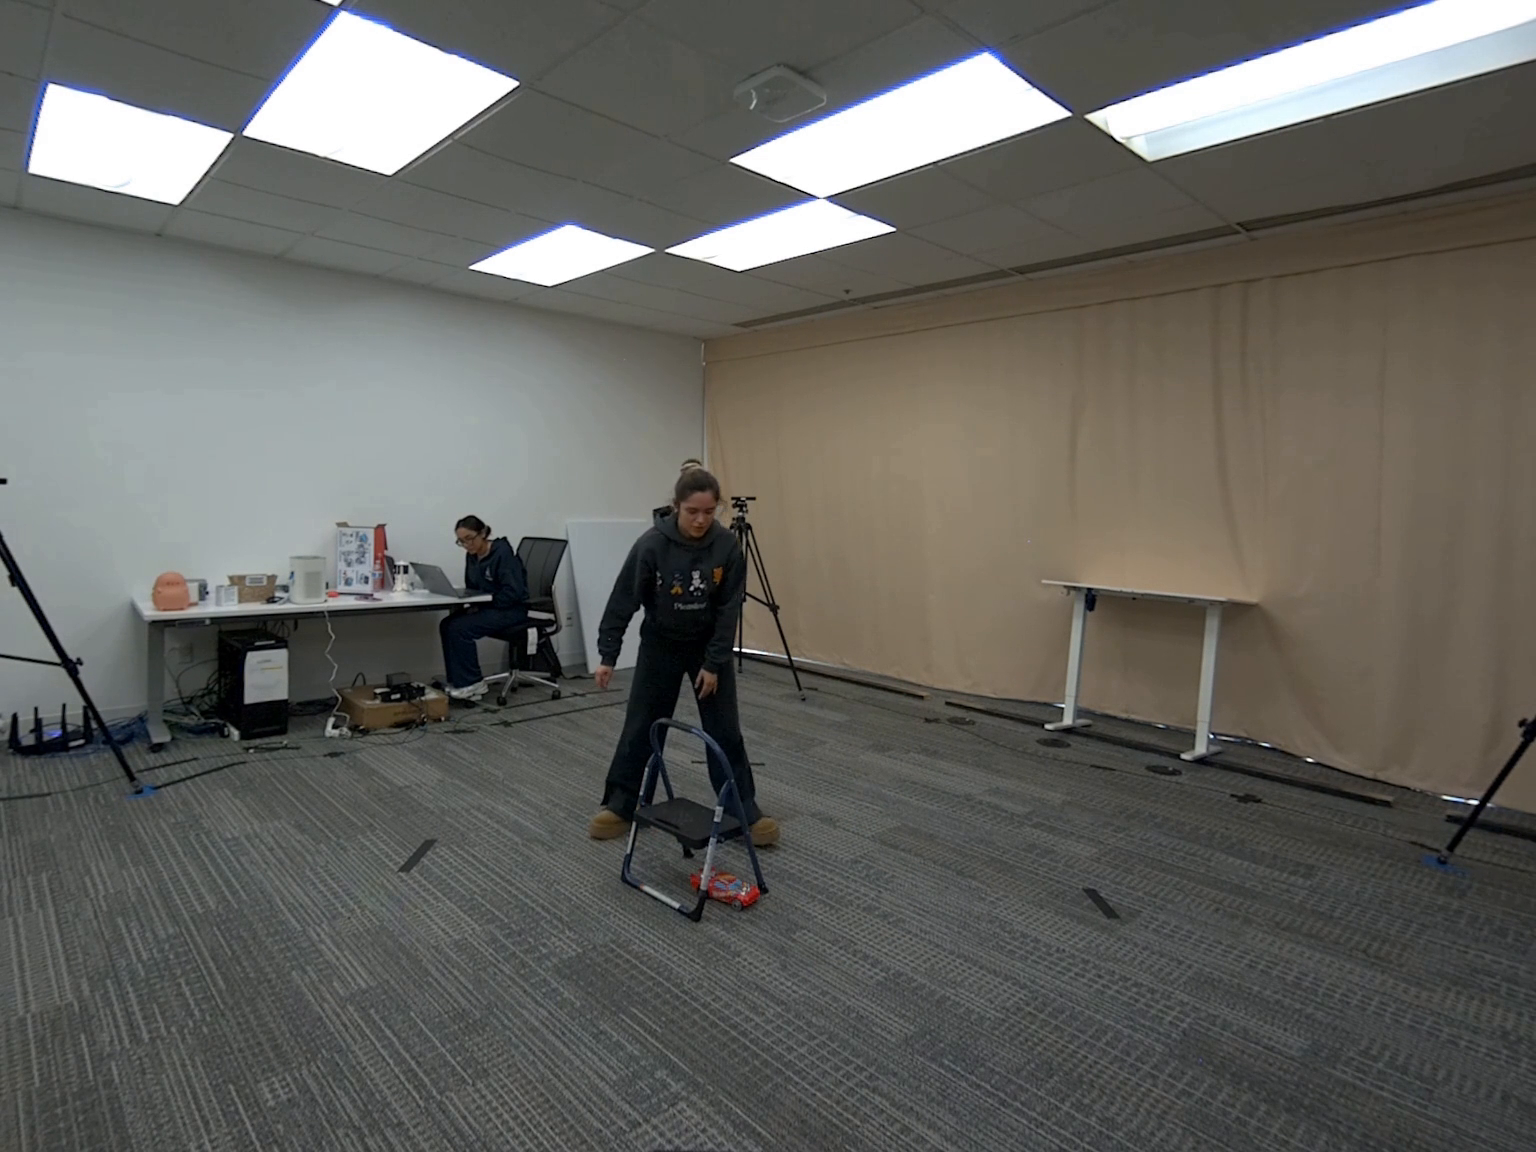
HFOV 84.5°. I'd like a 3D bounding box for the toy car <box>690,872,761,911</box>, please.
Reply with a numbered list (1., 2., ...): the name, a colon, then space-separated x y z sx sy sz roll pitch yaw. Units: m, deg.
1. toy car: -0.173 1.093 2.950 0.261 0.082 0.128 17 14 32
